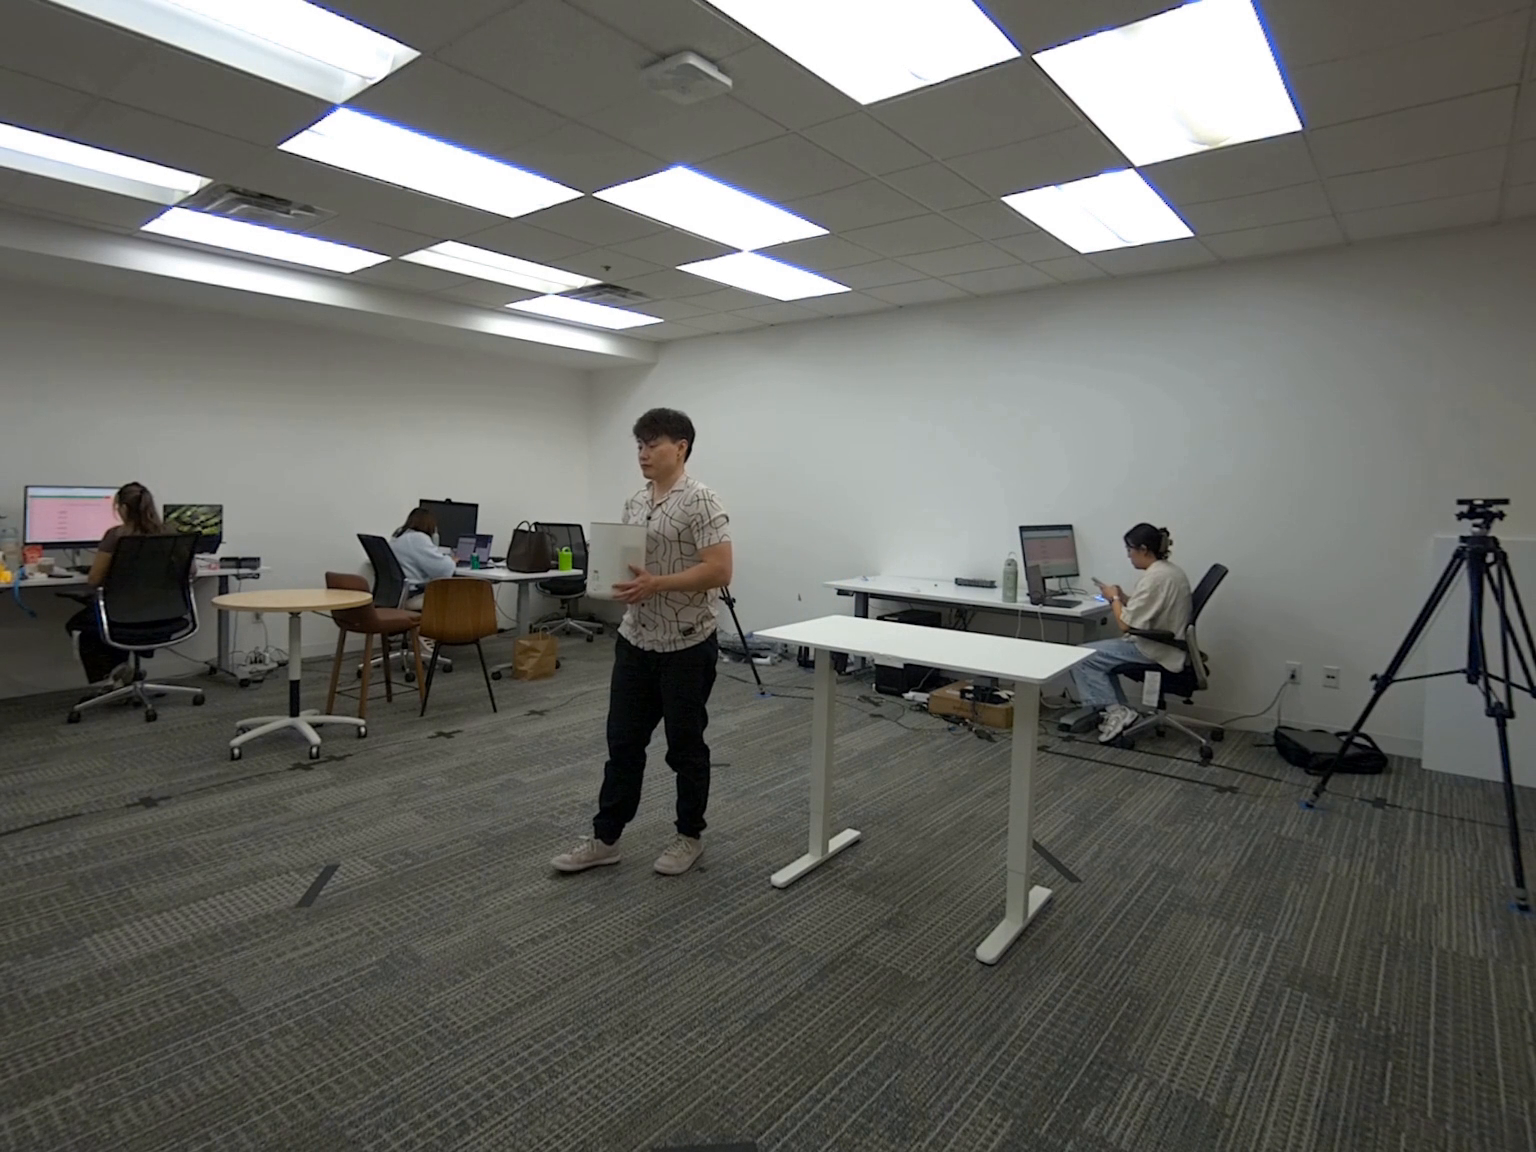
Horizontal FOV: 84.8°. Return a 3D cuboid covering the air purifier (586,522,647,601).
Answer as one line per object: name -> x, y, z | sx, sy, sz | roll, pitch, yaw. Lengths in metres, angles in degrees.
air purifier -> -0.547, -0.057, 2.987 | 0.177, 0.265, 0.166 | 4, 0, 45
